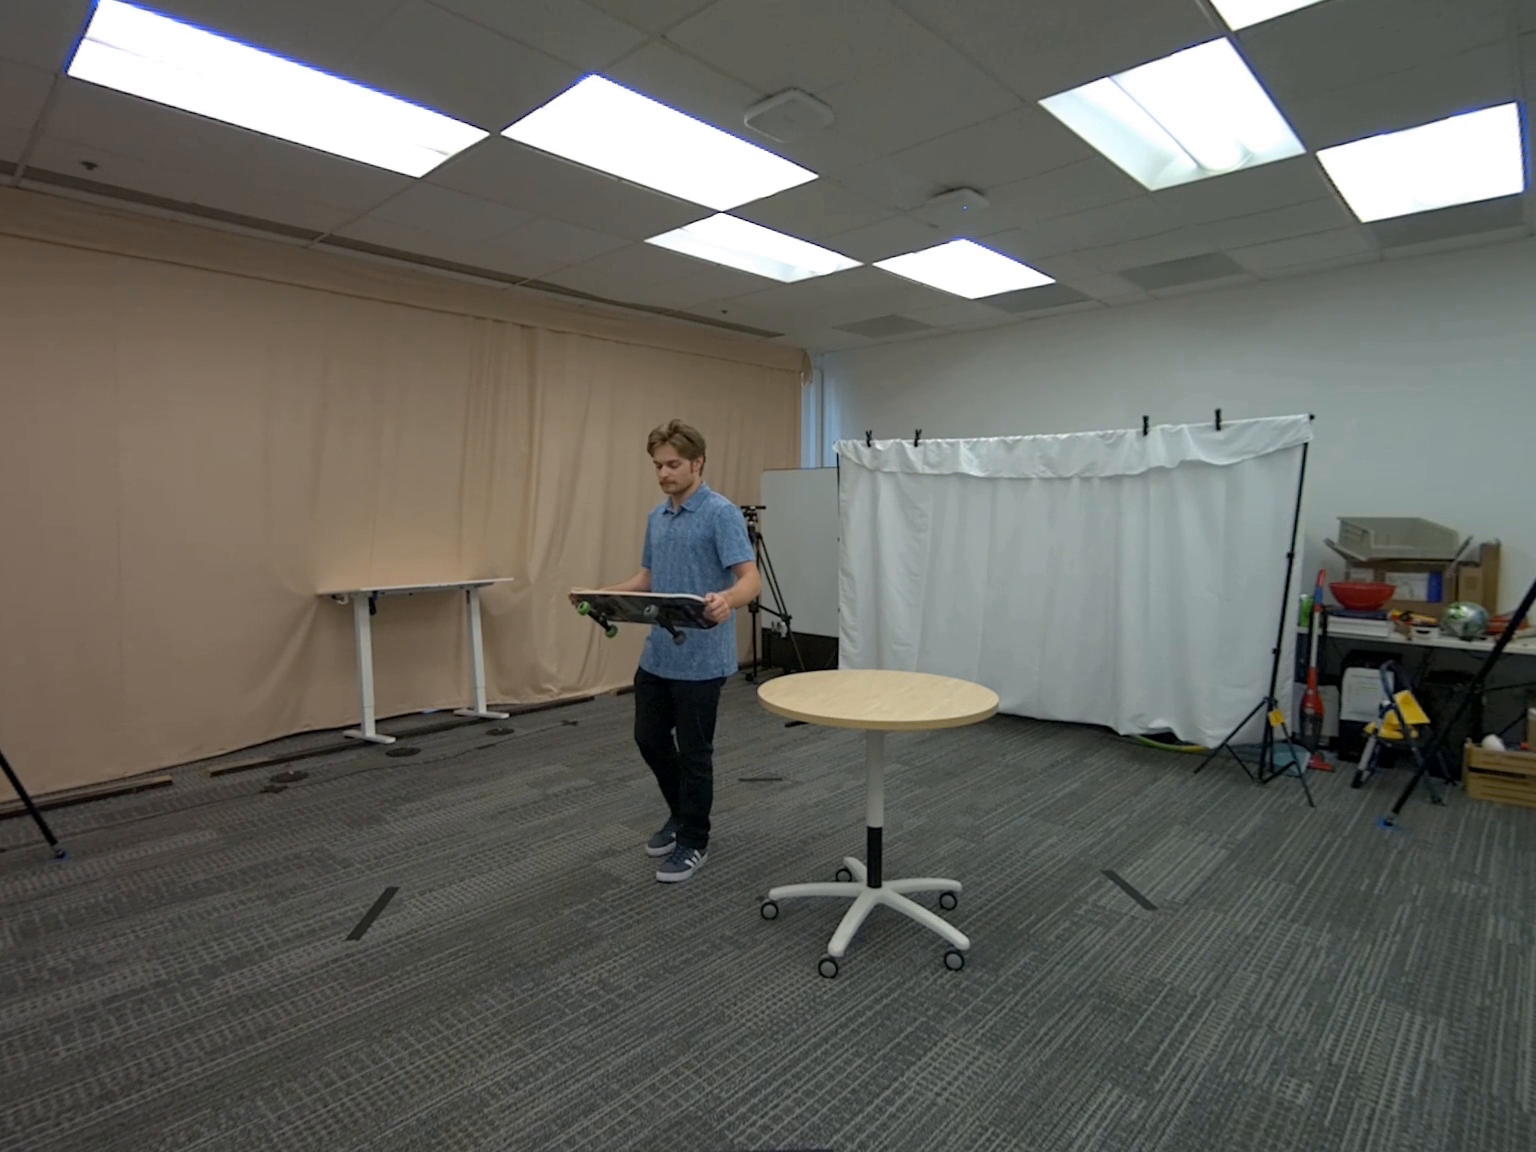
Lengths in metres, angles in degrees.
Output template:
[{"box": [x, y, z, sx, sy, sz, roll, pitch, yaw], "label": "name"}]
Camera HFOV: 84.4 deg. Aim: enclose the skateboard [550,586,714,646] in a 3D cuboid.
[{"box": [-0.470, 0.144, 3.005, 0.811, 0.110, 0.187, 0, -38, 46], "label": "skateboard"}]
